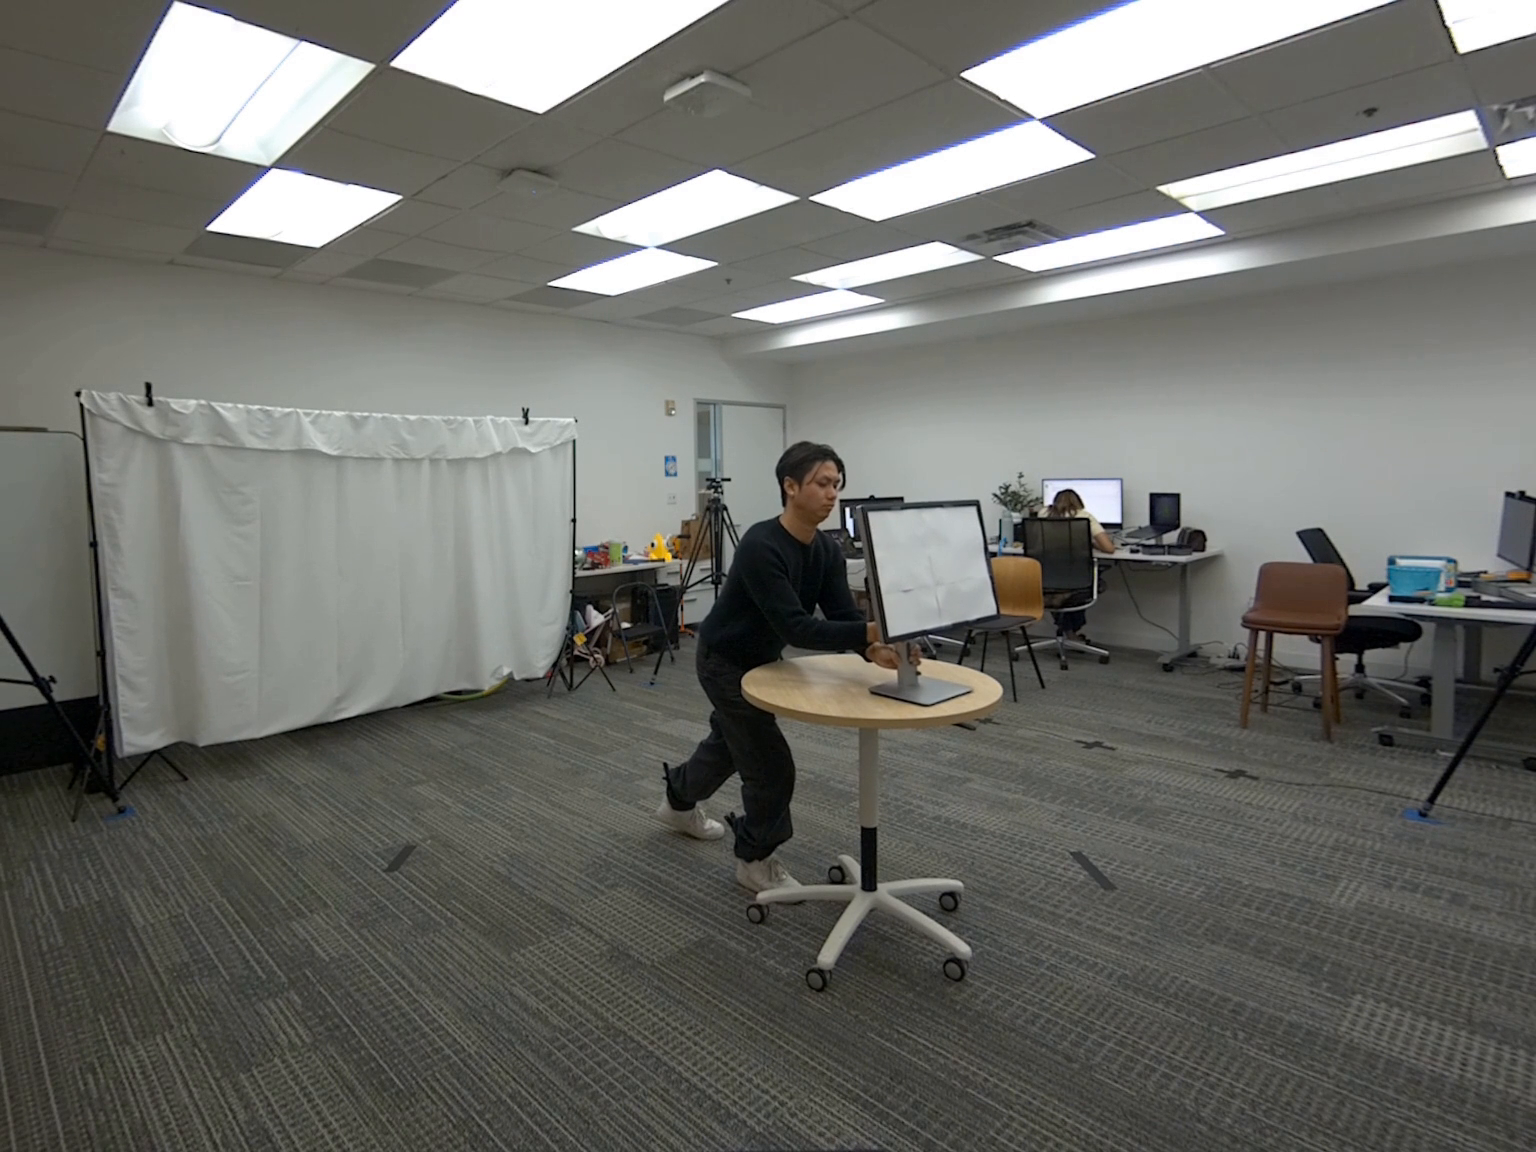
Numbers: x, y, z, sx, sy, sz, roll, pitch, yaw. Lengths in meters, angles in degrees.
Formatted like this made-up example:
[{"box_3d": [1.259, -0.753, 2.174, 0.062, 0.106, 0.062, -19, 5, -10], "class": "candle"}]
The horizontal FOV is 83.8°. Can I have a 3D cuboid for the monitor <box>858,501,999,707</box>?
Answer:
[{"box_3d": [0.439, 0.061, 2.414, 0.180, 0.513, 0.515, 11, 10, 42], "class": "monitor"}]
